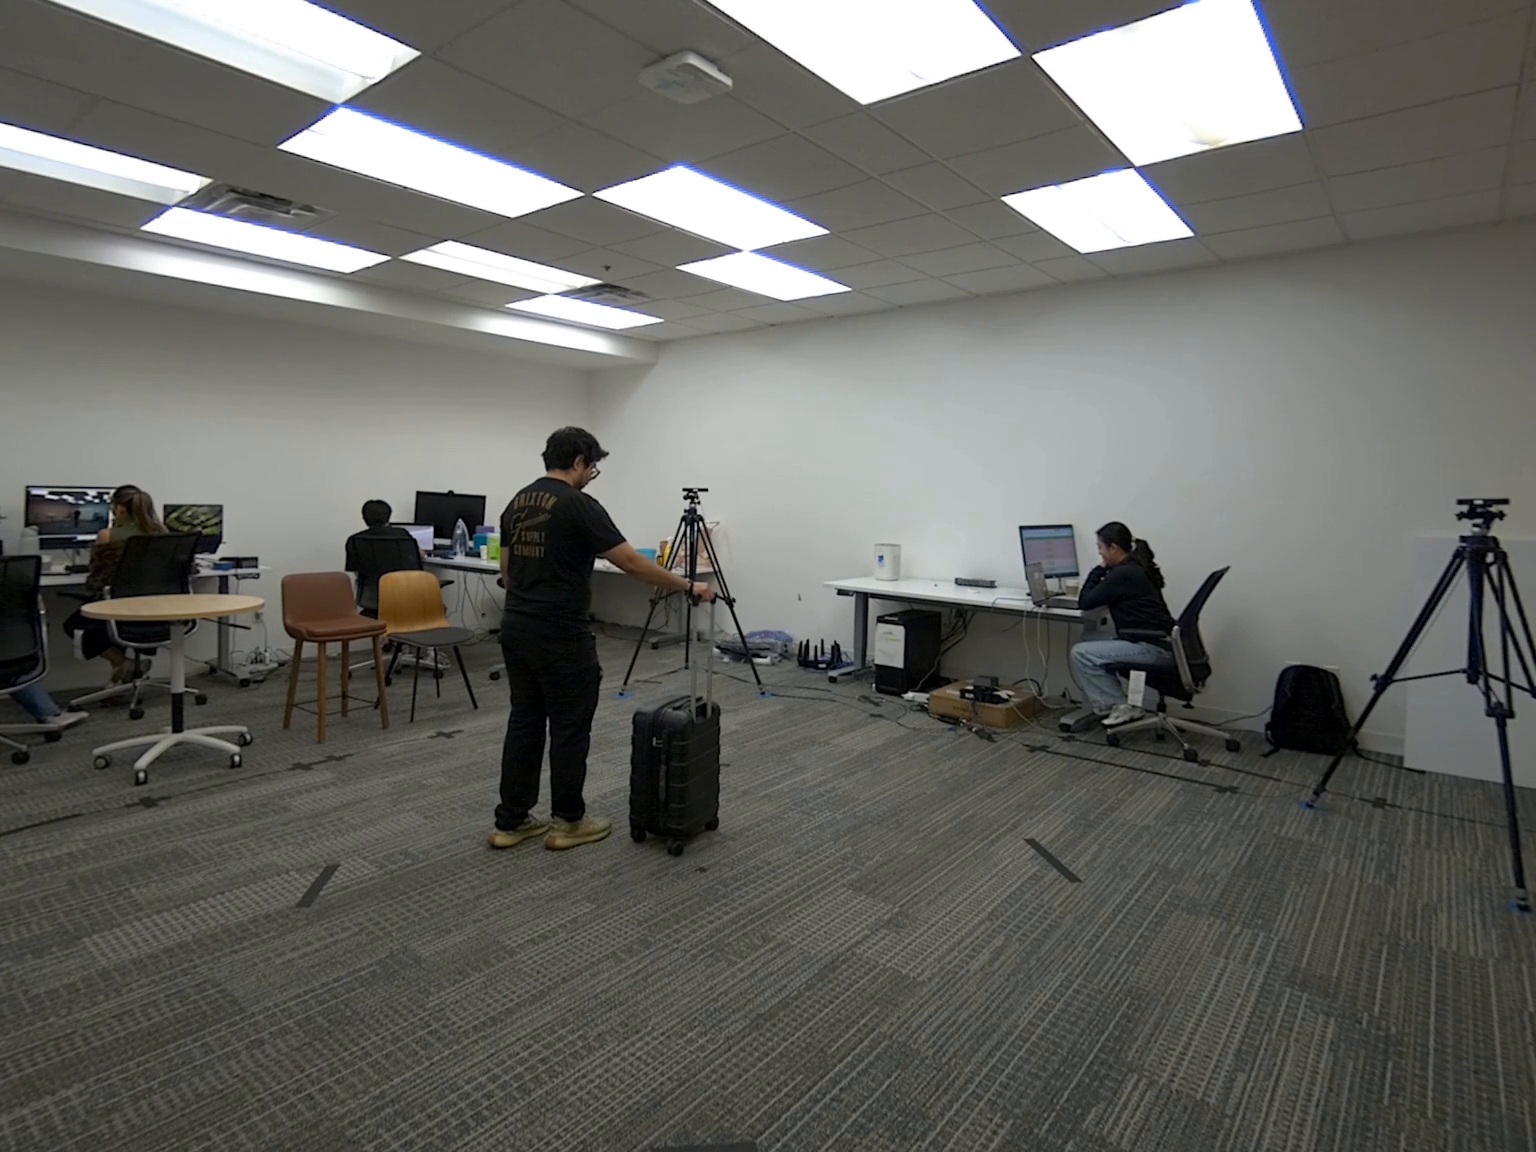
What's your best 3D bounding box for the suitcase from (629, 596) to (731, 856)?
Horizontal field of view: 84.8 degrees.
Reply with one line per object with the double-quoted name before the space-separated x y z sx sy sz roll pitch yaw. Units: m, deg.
"suitcase" -0.380 0.565 3.406 0.264 0.978 0.374 0 1 26
